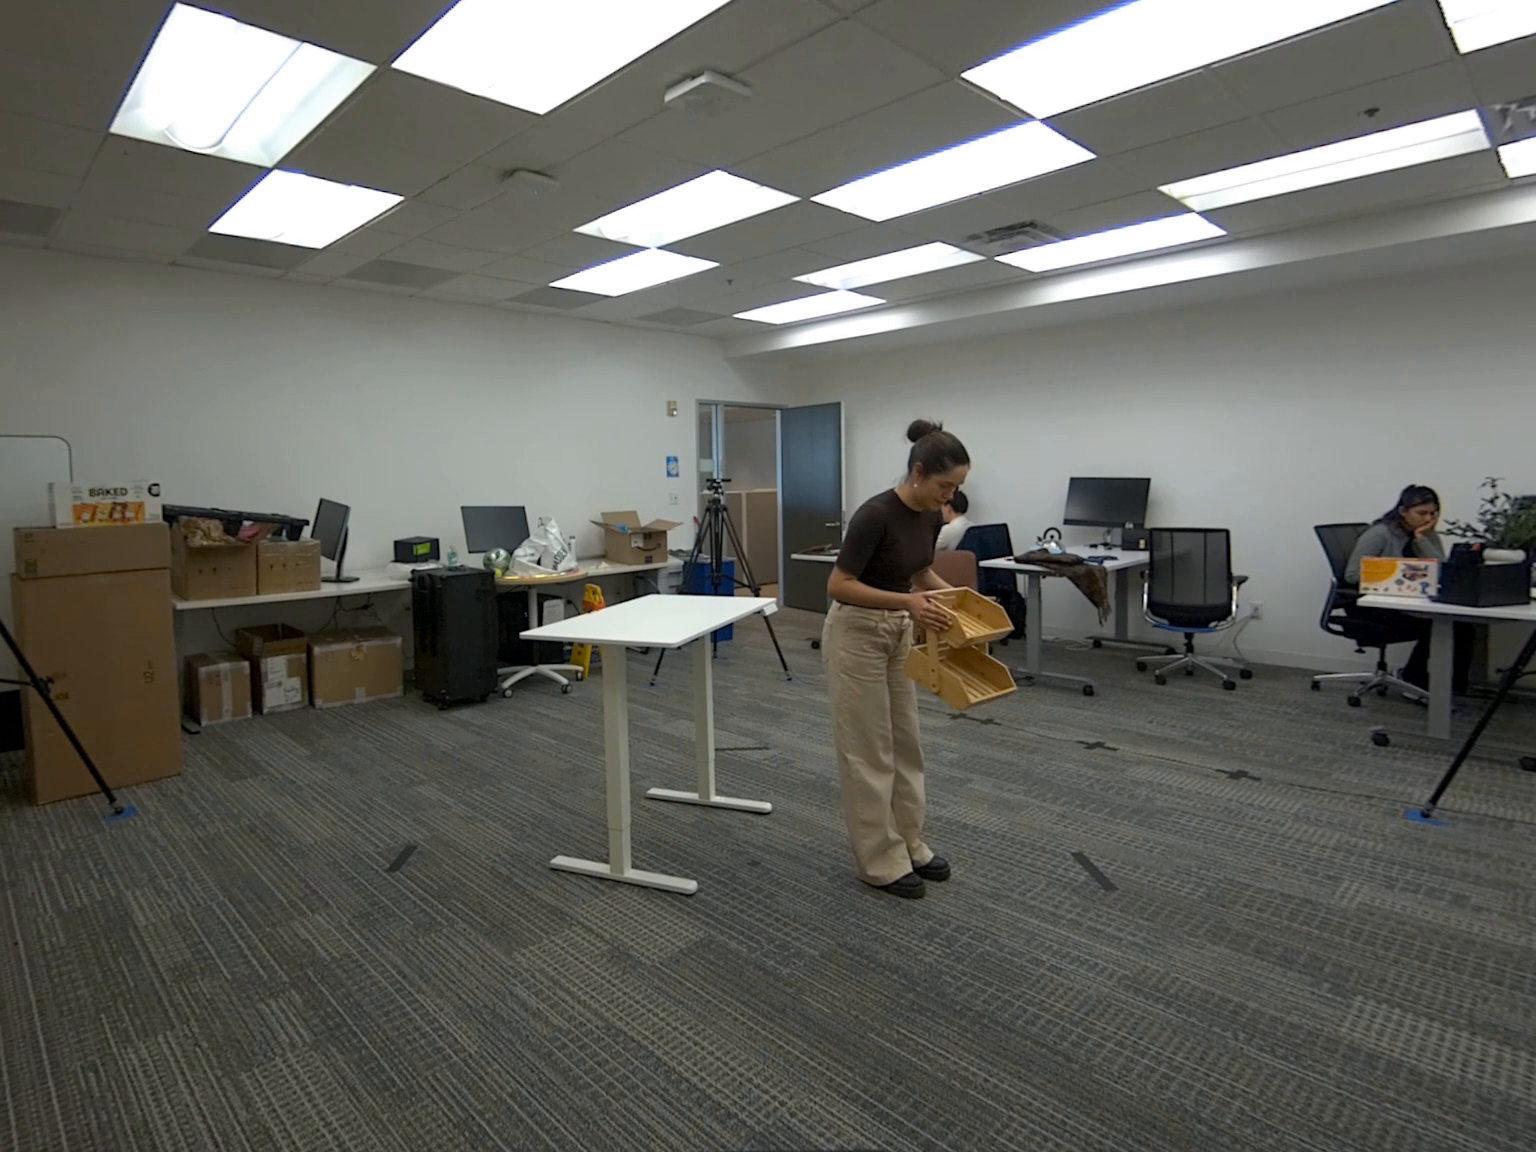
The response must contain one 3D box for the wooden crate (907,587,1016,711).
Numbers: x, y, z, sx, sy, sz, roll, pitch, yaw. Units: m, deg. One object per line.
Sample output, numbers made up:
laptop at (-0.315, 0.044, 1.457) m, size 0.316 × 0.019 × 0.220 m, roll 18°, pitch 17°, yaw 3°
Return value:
wooden crate at (0.645, 0.220, 2.730) m, size 0.313 × 0.271 × 0.315 m, roll 29°, pitch 20°, yaw 37°
